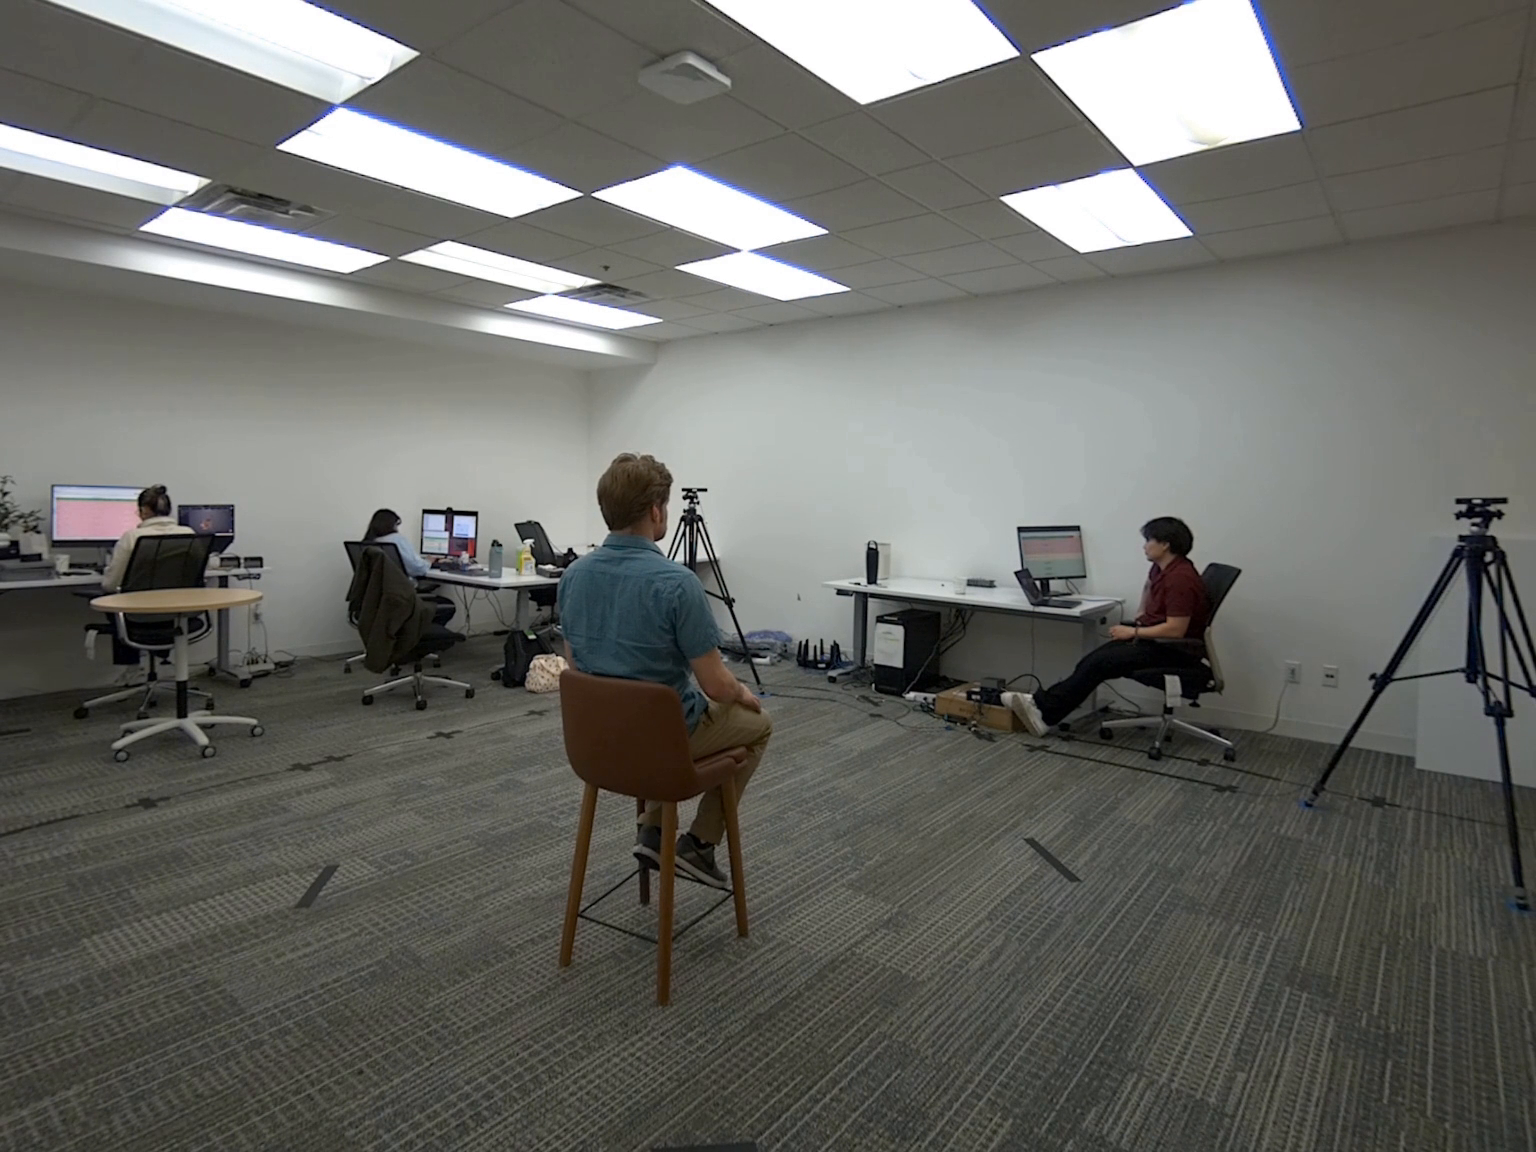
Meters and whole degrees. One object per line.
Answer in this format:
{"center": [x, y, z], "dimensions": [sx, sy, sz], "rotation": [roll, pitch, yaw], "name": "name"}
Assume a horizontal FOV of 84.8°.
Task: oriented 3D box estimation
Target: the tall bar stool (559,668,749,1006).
{"center": [-0.352, 0.688, 2.536], "dimensions": [0.470, 0.886, 0.456], "rotation": [2, 6, 30], "name": "tall bar stool"}
